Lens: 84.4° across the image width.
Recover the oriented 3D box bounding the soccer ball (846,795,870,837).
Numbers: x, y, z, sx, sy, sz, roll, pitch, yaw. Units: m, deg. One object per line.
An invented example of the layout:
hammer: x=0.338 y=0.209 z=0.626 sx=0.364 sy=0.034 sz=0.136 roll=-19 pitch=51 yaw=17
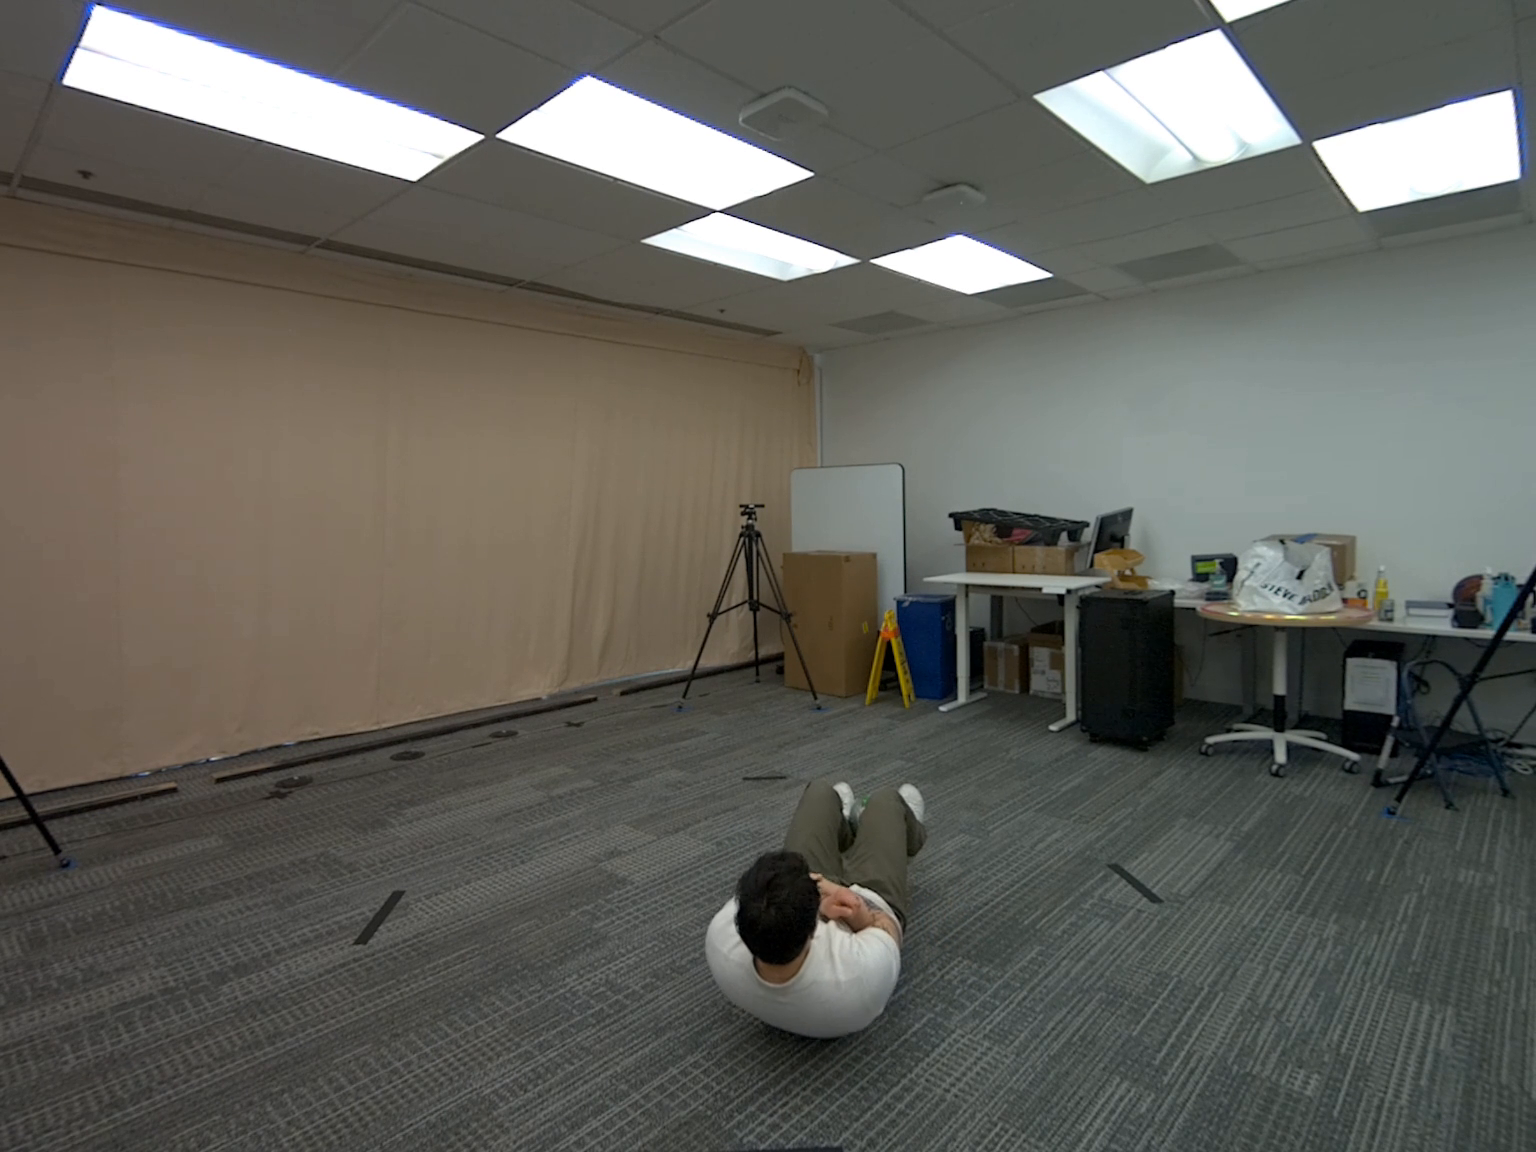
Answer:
soccer ball: x=0.406 y=0.885 z=3.035 sx=0.187 sy=0.187 sz=0.188 roll=-1 pitch=4 yaw=-2
